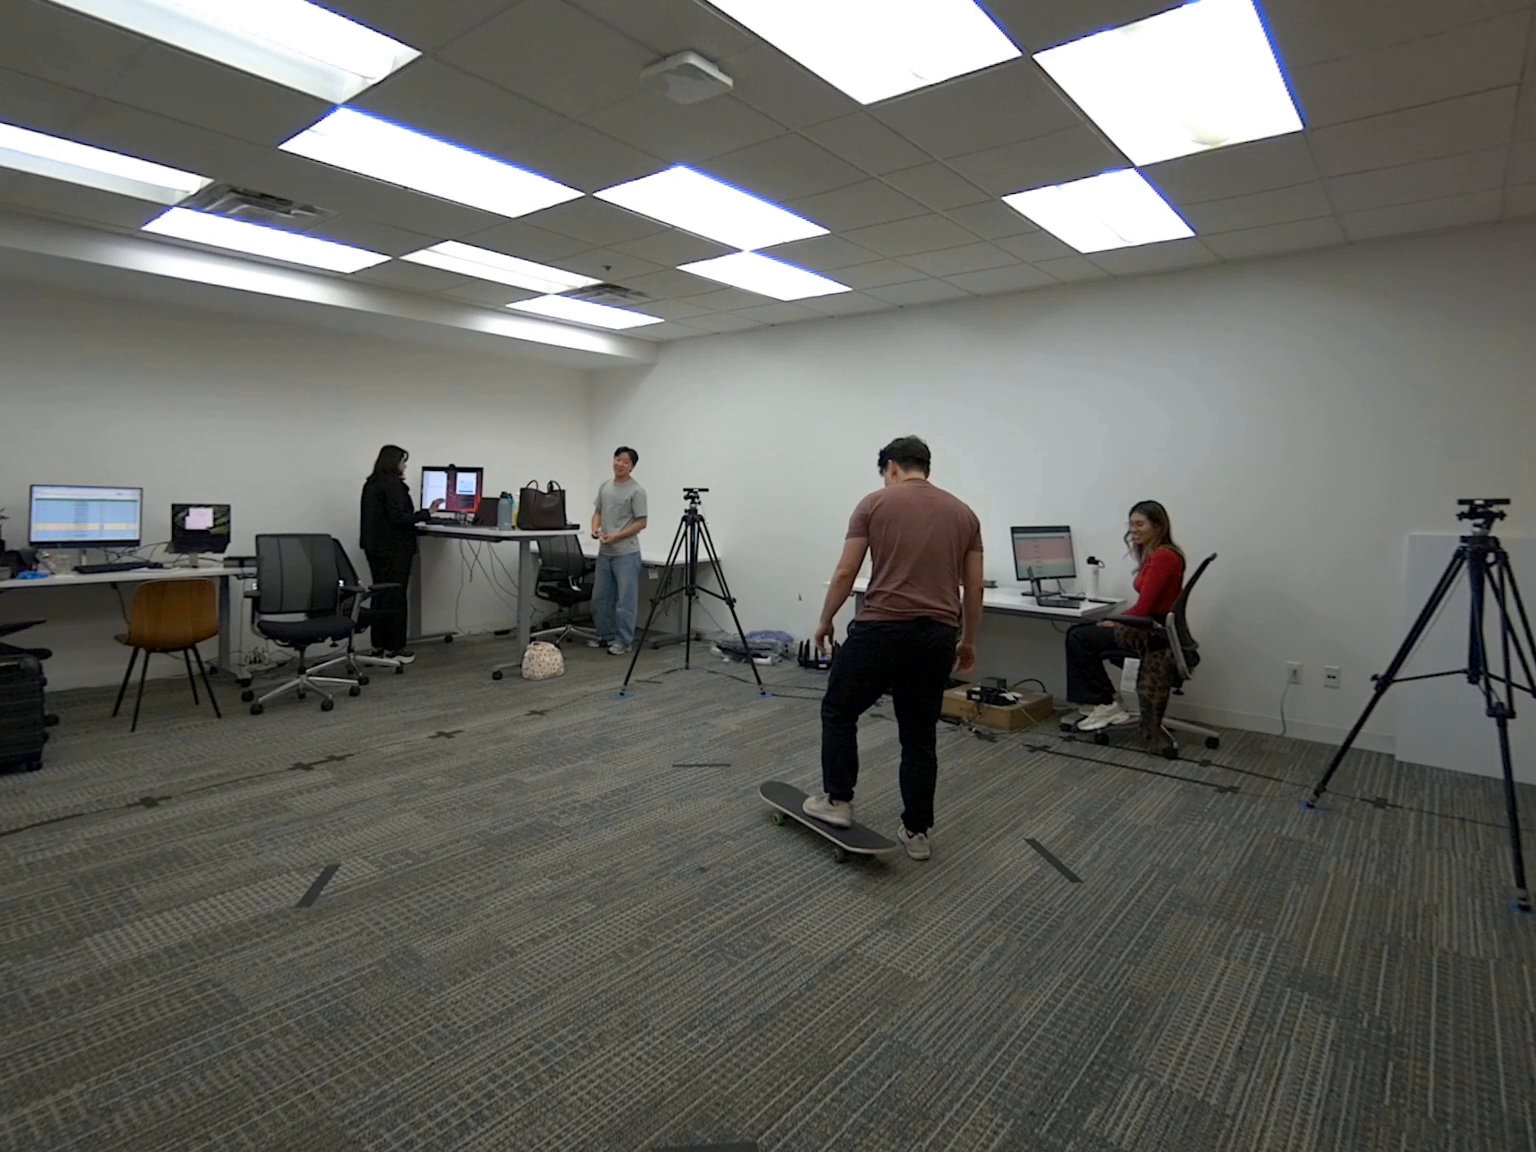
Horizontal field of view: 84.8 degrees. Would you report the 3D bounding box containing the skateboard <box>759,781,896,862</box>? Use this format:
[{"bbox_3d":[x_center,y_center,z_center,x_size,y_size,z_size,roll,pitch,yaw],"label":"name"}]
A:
[{"bbox_3d":[0.215,0.991,3.412,0.188,0.110,0.810,-1,6,-33],"label":"skateboard"}]
